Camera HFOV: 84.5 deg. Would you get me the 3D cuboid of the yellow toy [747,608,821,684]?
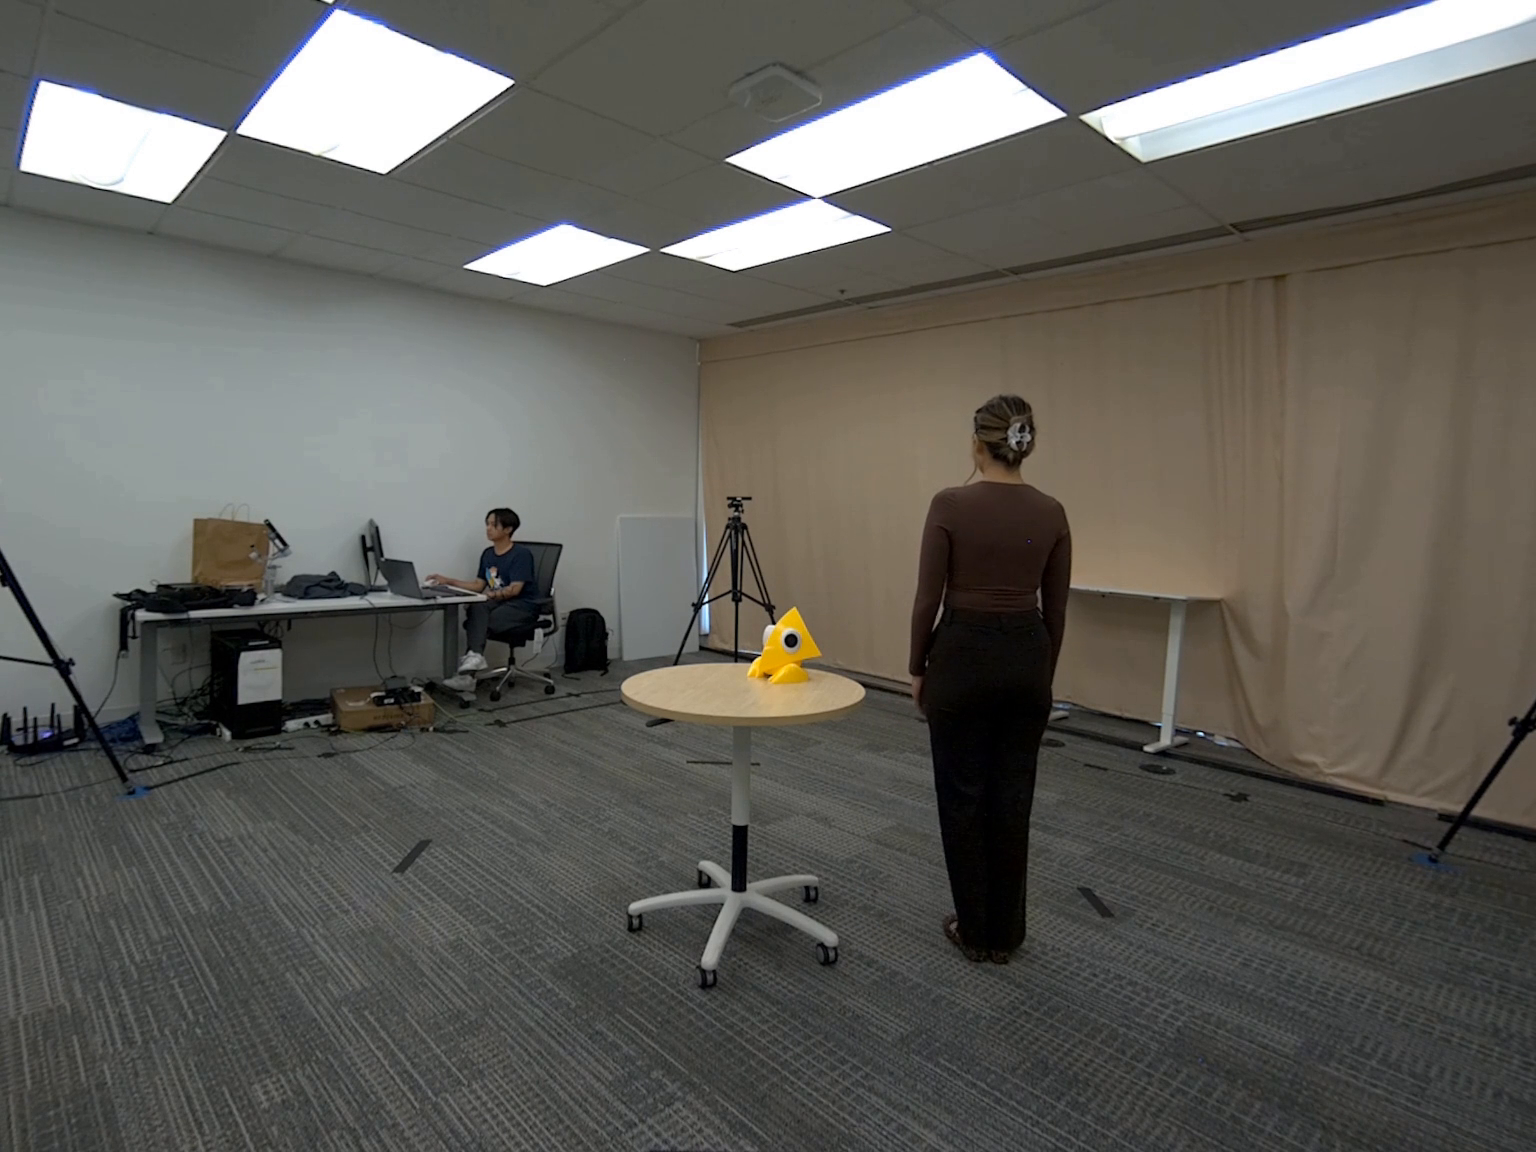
[{"bbox_3d":[0.040,0.223,2.818,0.189,0.230,0.210,-3,5,-39],"label":"yellow toy"}]
